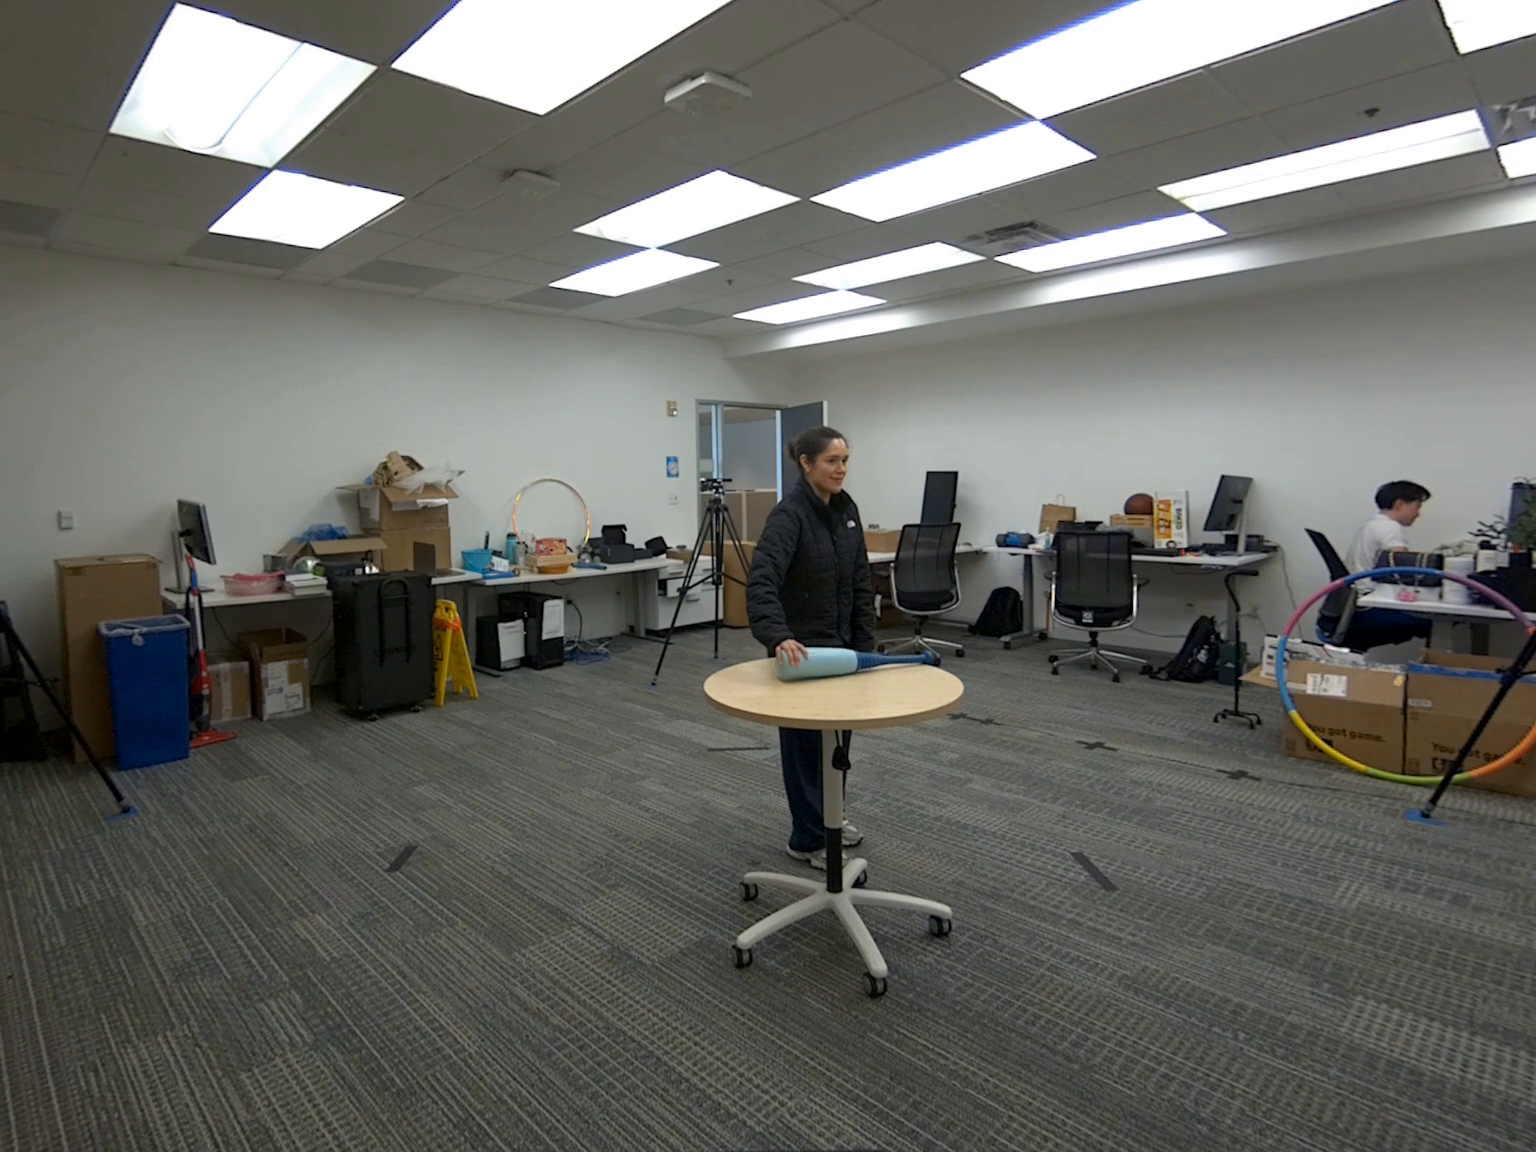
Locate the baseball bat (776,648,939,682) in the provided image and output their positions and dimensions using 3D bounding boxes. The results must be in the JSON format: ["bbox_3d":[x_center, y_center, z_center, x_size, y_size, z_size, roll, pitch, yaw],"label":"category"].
[{"bbox_3d":[0.297,0.266,2.703,0.532,0.089,0.091,0,4,-21],"label":"baseball bat"}]
